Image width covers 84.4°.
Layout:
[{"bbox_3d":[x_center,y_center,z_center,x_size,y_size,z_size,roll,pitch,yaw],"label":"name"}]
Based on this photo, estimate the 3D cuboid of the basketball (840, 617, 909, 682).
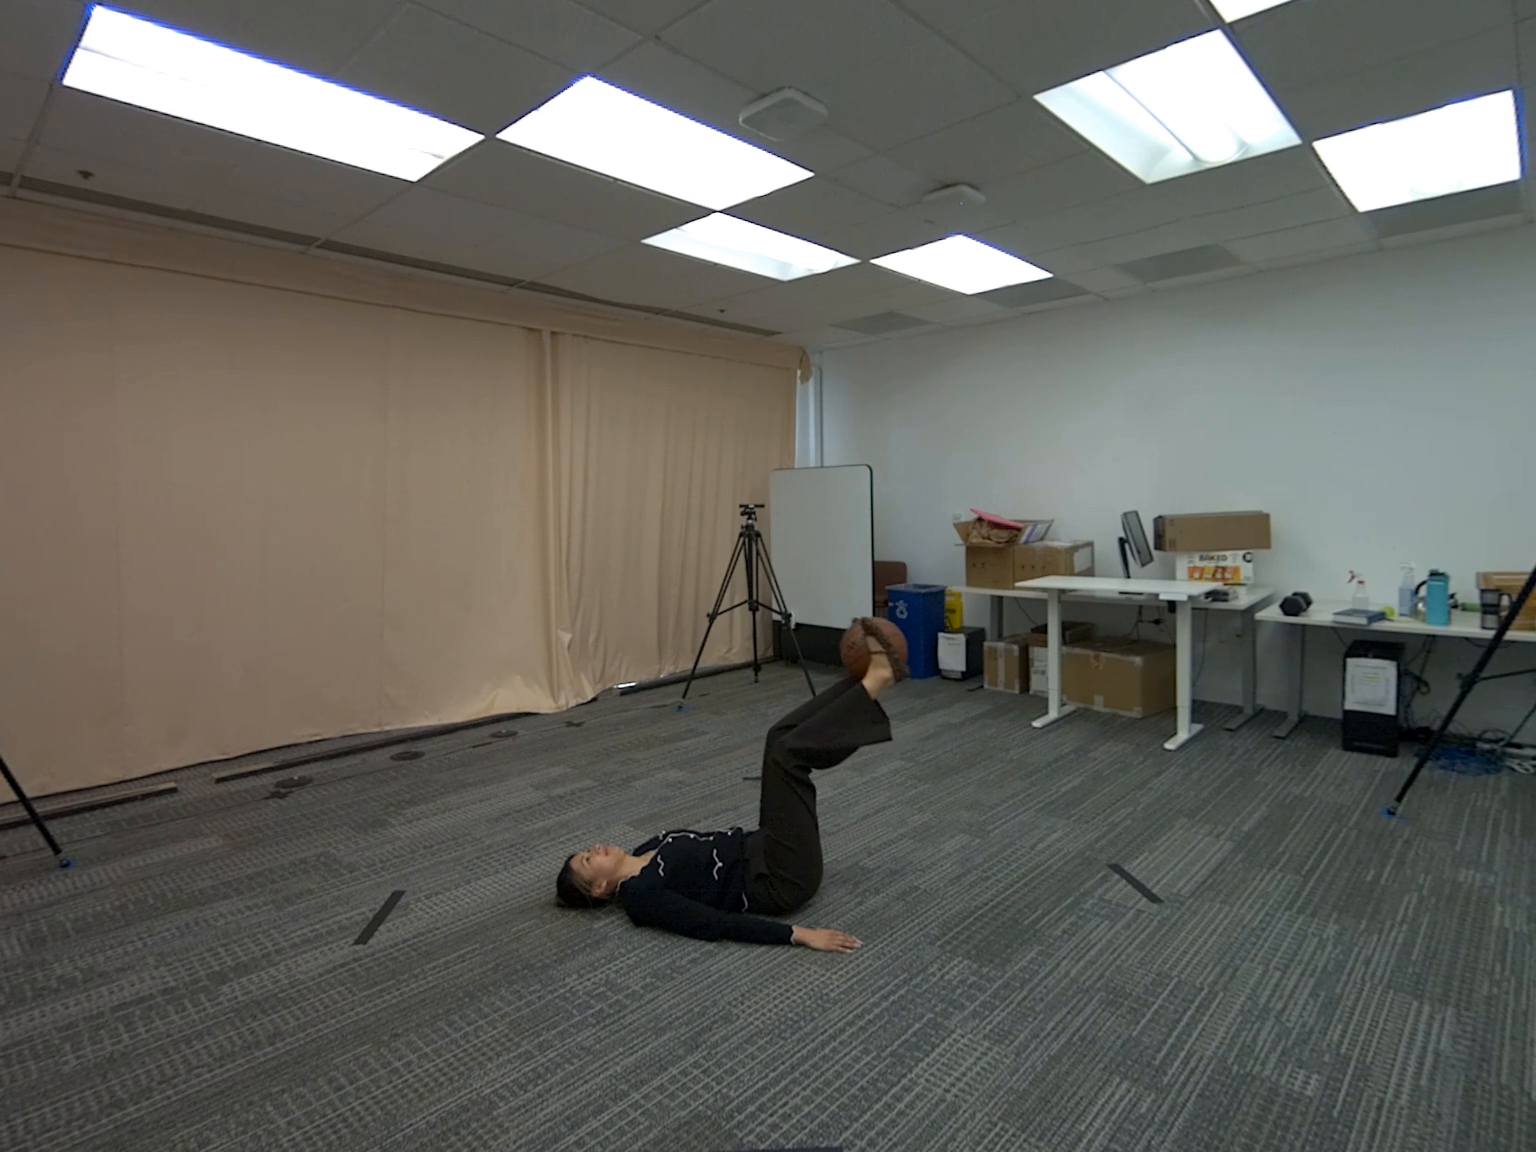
[{"bbox_3d":[0.384,0.277,2.993,0.236,0.236,0.236,0,1,-2],"label":"basketball"}]
